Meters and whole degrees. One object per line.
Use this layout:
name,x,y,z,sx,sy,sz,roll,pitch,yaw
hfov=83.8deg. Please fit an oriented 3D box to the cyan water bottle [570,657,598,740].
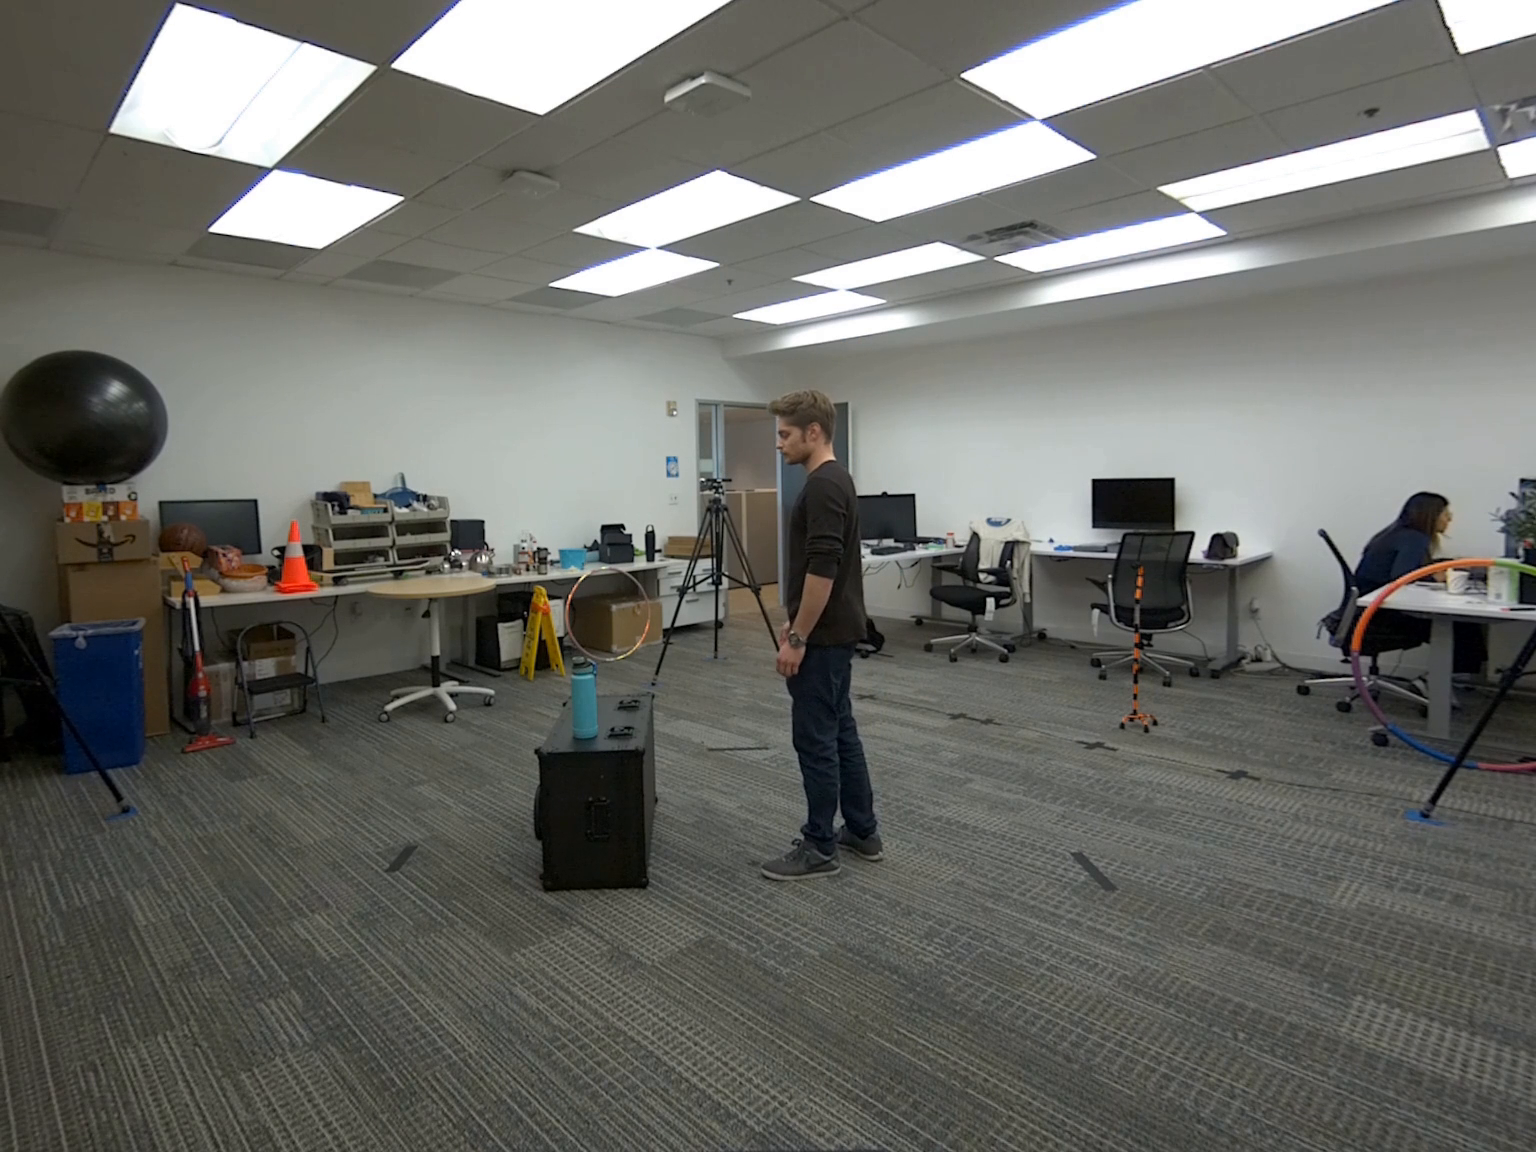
cyan water bottle,-0.663,0.433,3.088,0.092,0.283,0.092,-2,3,-2
